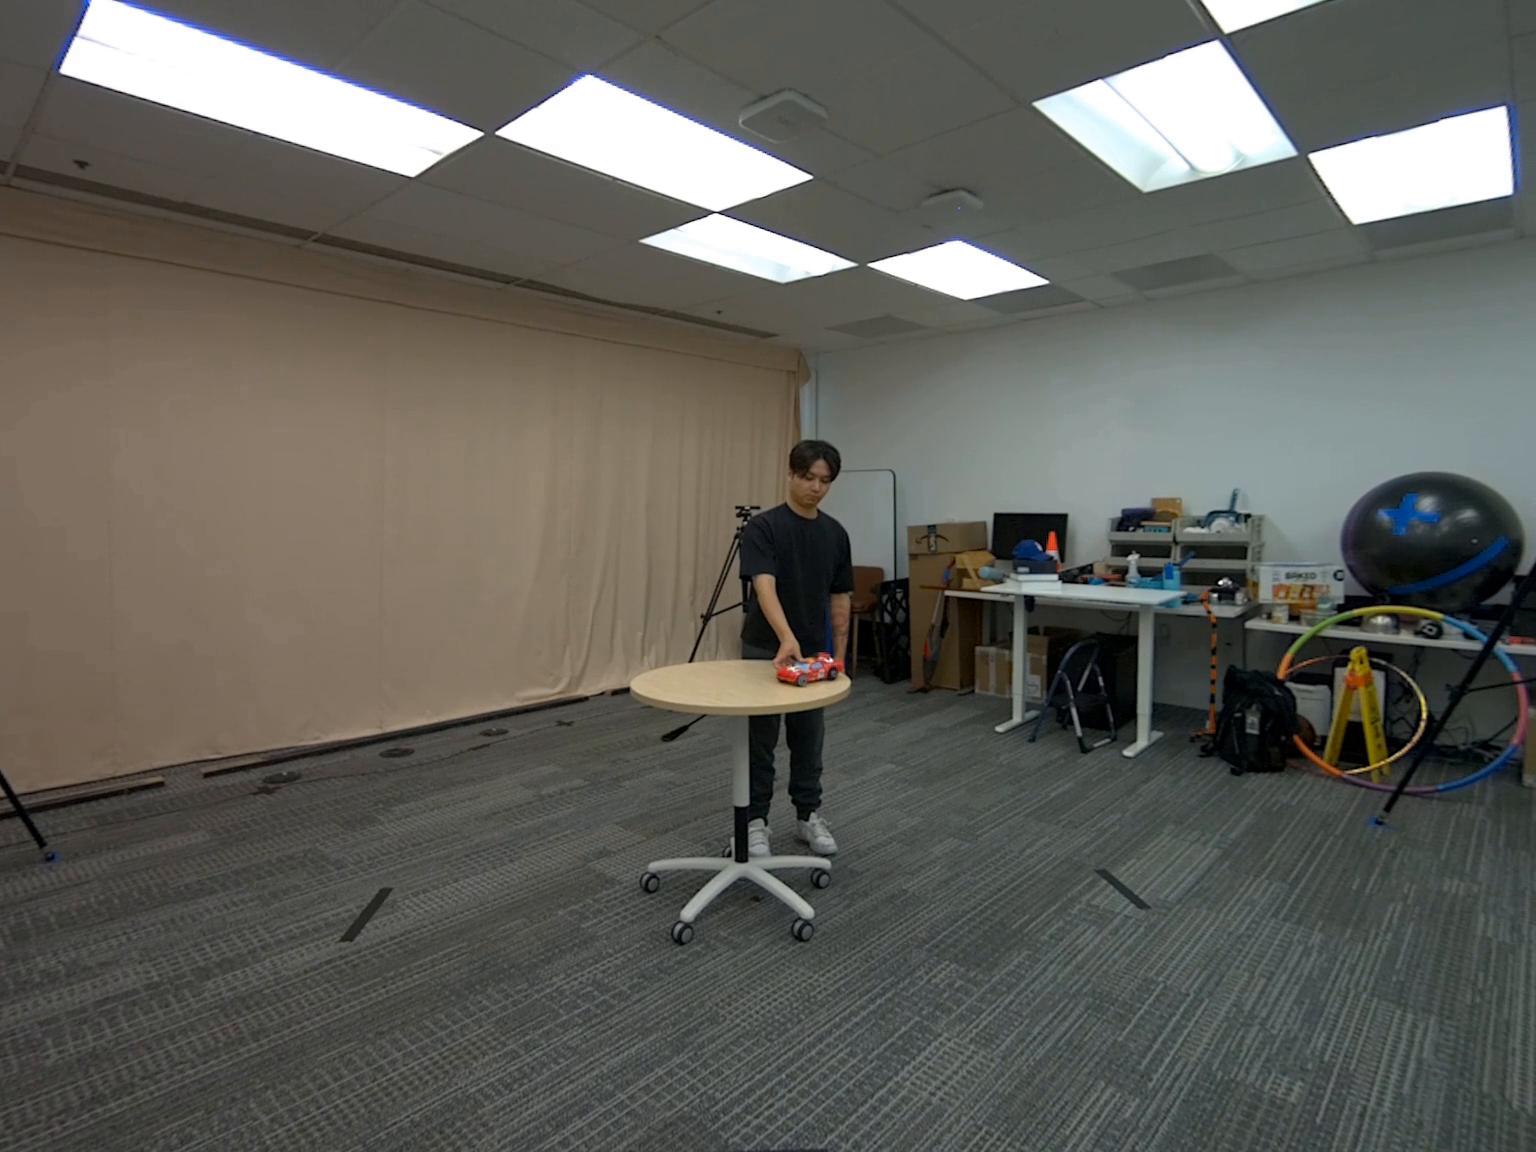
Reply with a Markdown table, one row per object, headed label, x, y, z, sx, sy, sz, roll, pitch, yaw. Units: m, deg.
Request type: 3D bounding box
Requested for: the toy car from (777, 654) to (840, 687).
| label | x | y | z | sx | sy | sz | roll | pitch | yaw |
| --- | --- | --- | --- | --- | --- | --- | --- | --- | --- |
| toy car | 0.154 | 0.330 | 2.926 | 0.248 | 0.082 | 0.134 | -19 | 15 | -37 |
